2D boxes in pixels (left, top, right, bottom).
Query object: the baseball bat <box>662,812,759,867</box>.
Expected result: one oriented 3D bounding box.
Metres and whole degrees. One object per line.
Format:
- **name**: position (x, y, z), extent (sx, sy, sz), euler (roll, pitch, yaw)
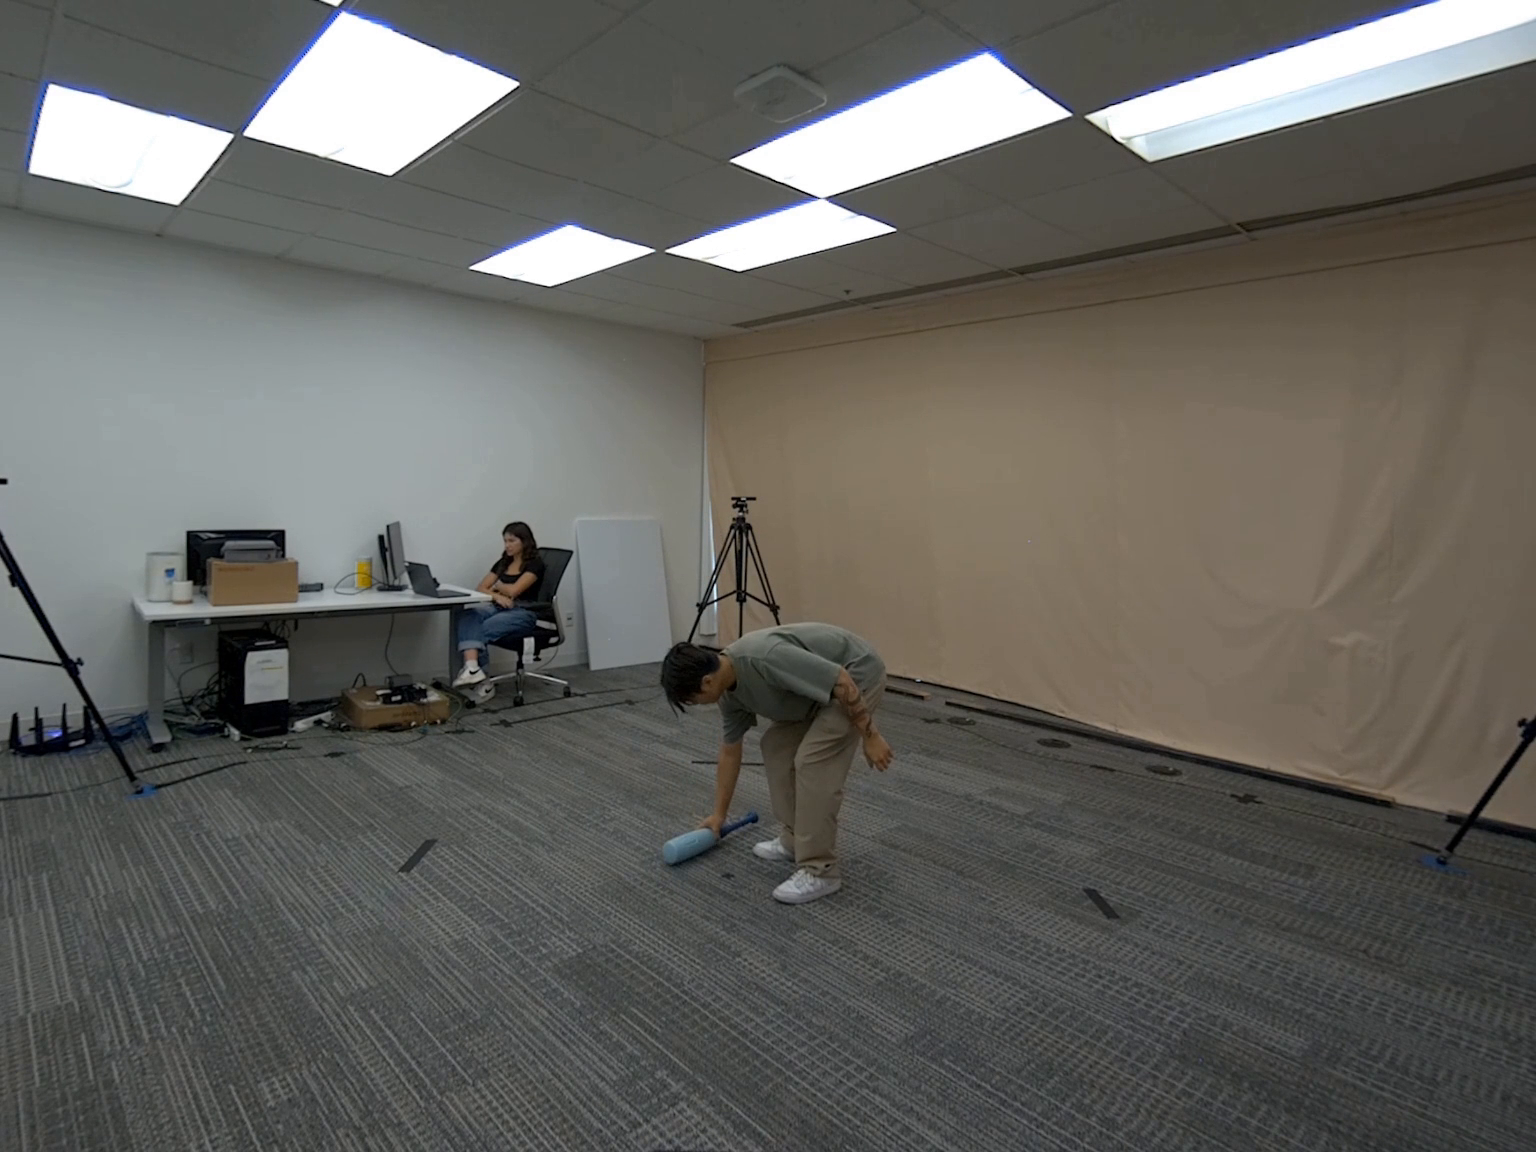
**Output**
- **baseball bat**: position (-0.219, 1.034, 3.362), extent (0.091, 0.089, 0.530), euler (5, 3, 37)
